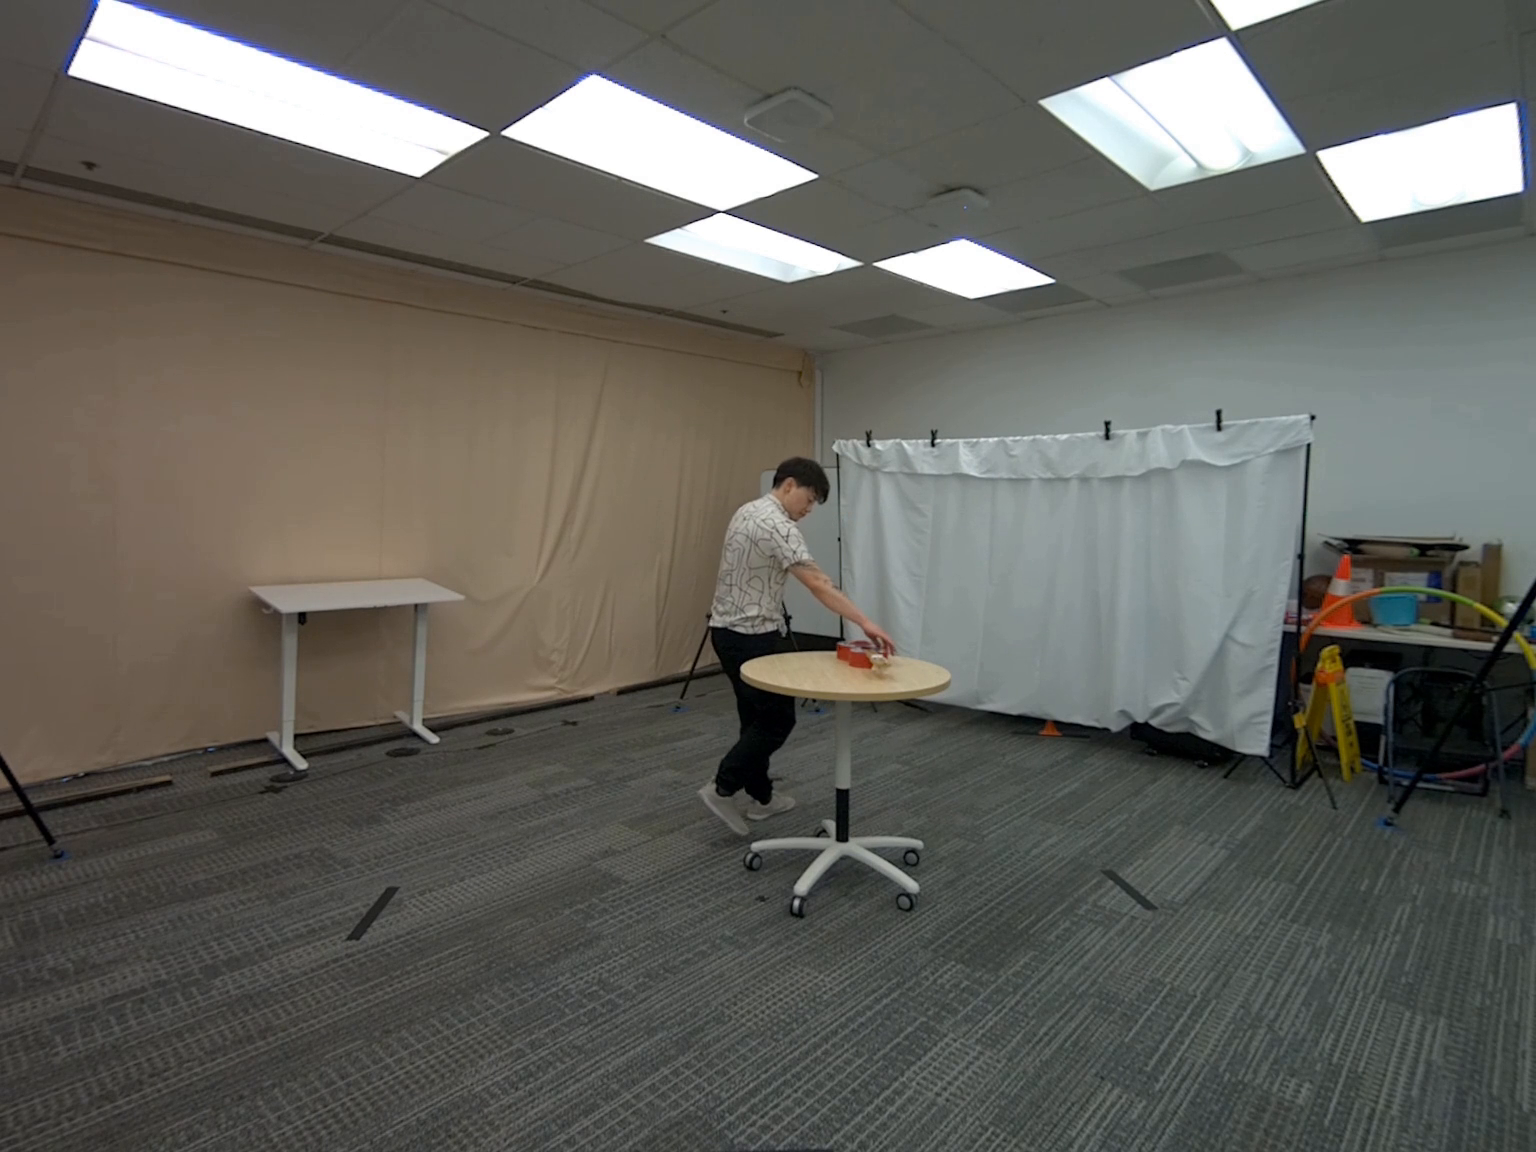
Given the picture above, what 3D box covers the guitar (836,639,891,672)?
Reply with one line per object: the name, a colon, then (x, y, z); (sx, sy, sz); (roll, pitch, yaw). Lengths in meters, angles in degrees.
guitar: (0.366, 0.311, 3.167); (0.194, 0.070, 0.495); (2, 5, 5)
